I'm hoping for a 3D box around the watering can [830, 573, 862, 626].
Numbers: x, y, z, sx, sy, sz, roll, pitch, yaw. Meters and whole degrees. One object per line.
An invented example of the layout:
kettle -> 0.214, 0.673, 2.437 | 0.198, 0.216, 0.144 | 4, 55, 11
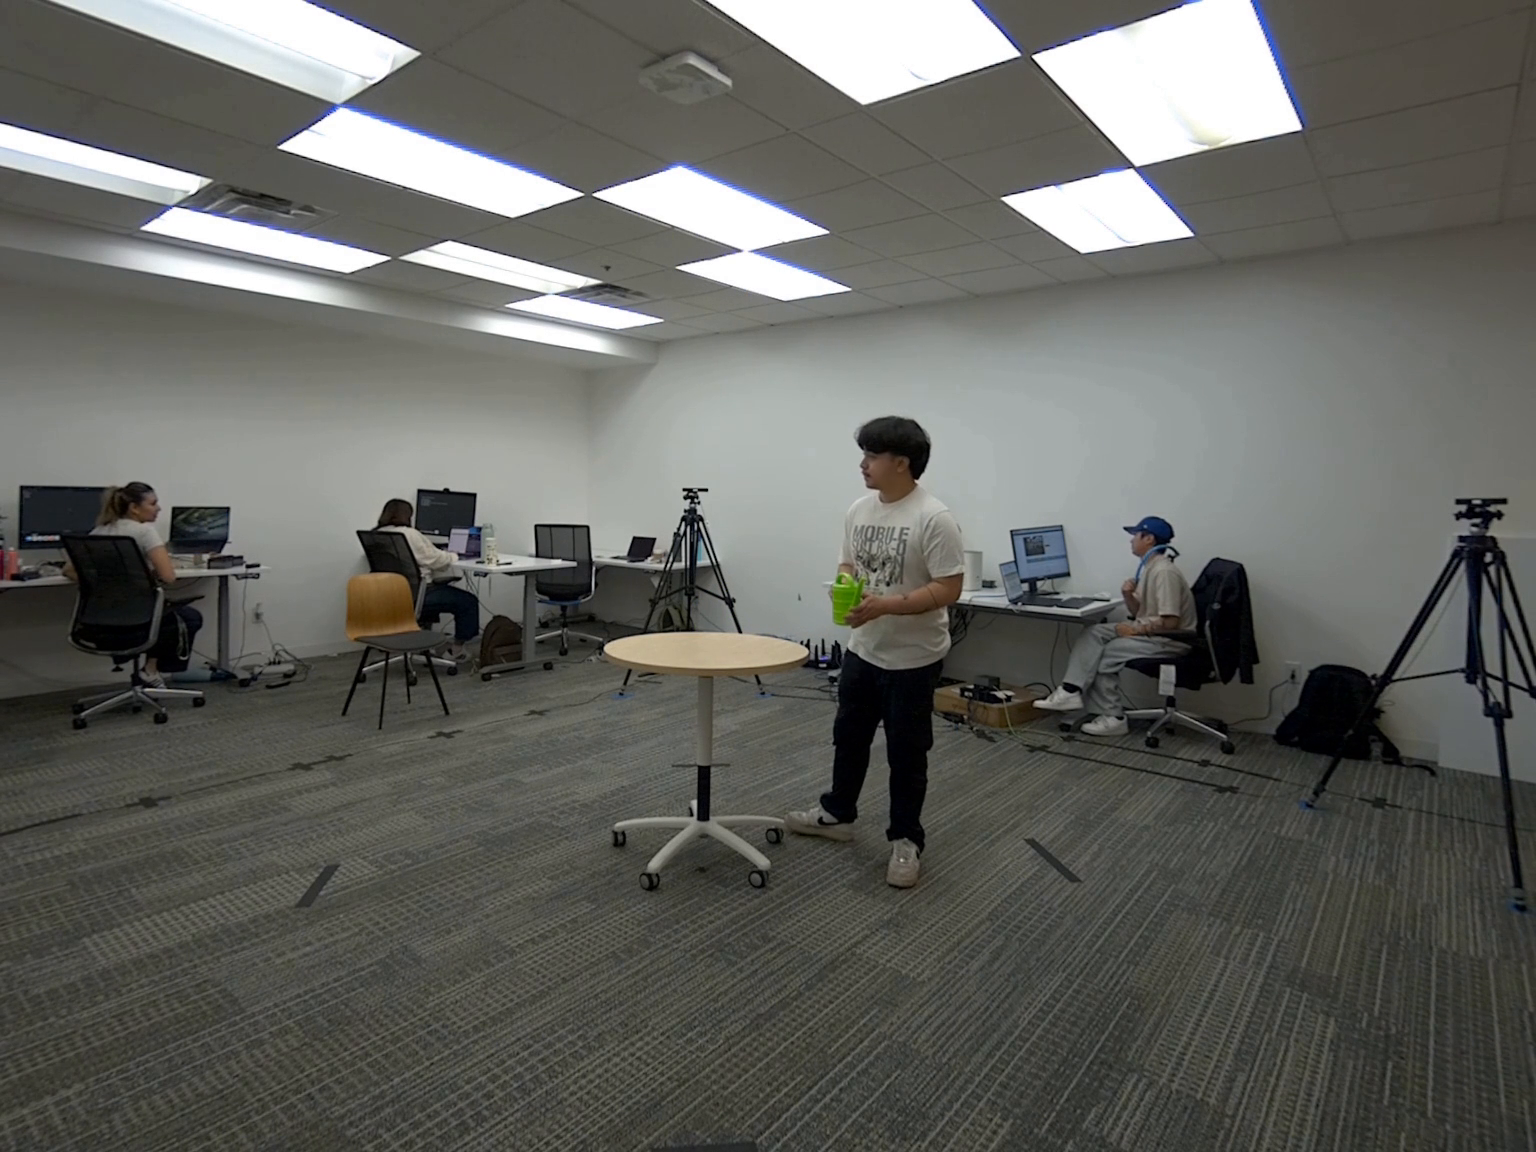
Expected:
watering can -> 0.280, 0.082, 2.914 | 0.098, 0.176, 0.279 | -1, 4, -1
